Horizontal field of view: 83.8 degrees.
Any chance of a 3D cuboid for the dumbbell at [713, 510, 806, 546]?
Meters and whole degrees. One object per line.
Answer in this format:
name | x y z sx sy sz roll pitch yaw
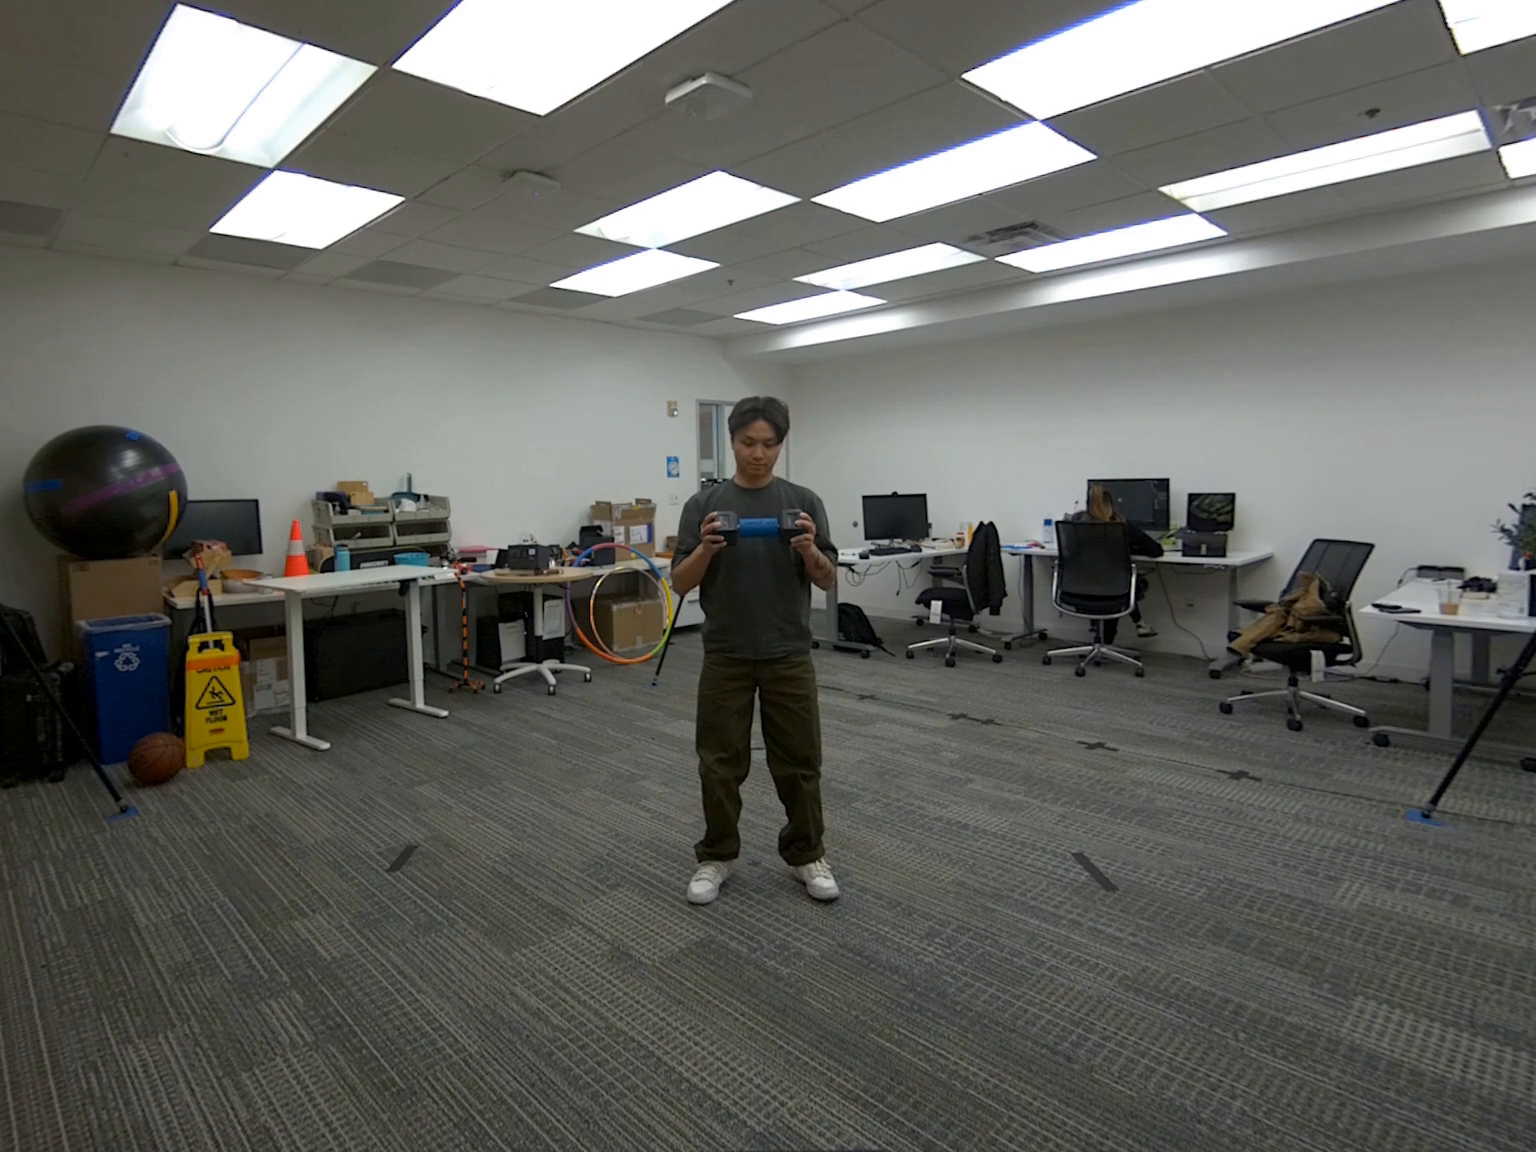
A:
dumbbell | -0.034 -0.146 2.714 0.293 0.120 0.112 -3 34 -1
